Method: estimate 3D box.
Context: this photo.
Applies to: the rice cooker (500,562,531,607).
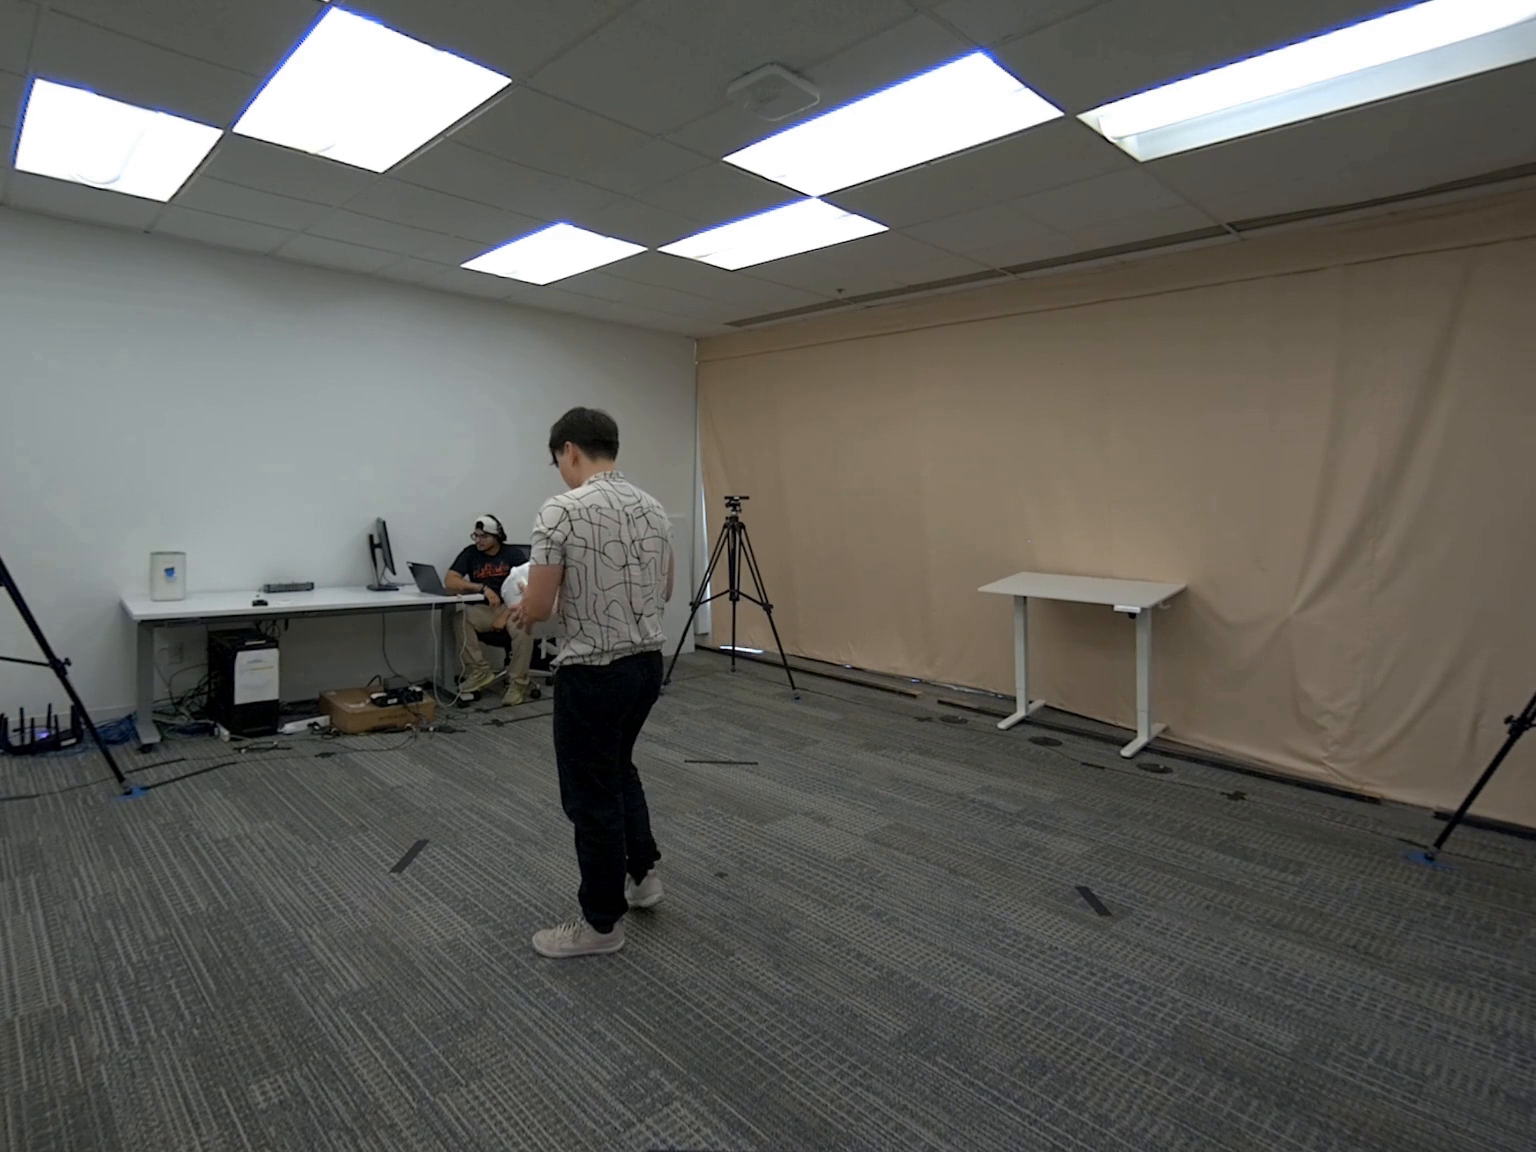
[{"bbox_3d":[-0.746,0.065,2.777,0.218,0.238,0.216,-41,-20,10],"label":"rice cooker"}]
